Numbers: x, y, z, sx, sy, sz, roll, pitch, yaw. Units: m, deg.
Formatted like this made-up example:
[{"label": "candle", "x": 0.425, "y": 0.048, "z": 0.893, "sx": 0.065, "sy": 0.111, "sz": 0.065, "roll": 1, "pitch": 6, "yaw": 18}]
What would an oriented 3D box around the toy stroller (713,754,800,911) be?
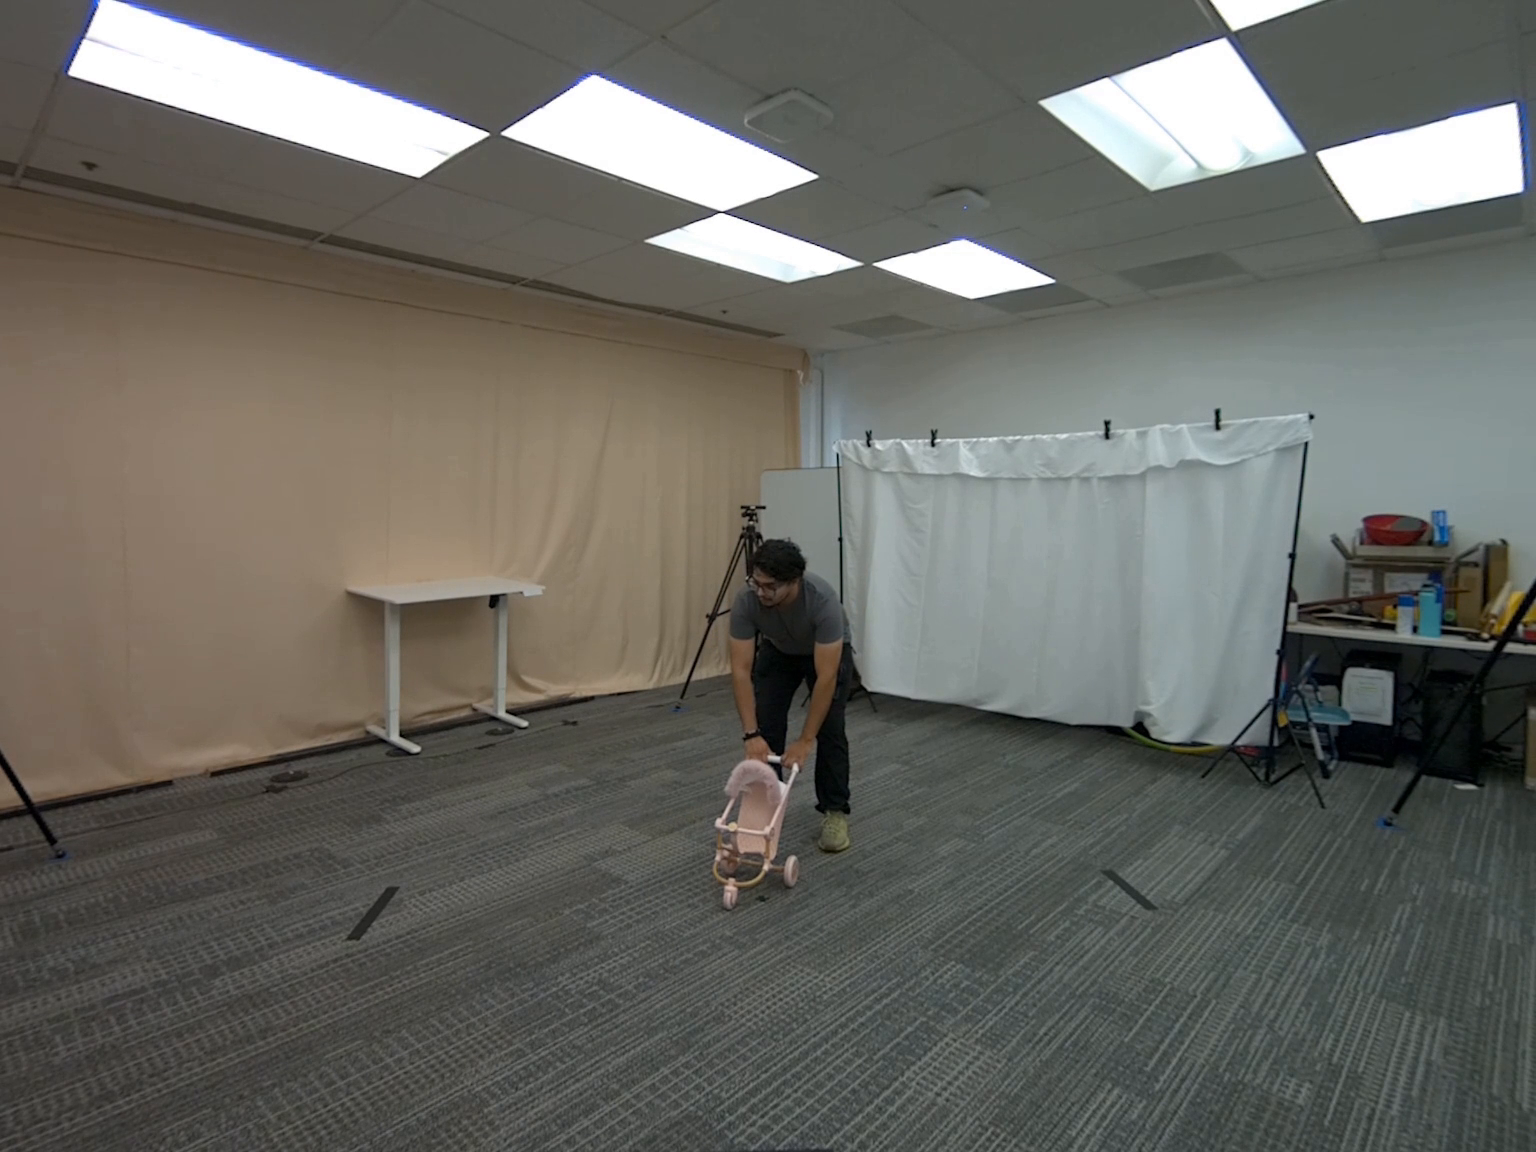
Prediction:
[{"label": "toy stroller", "x": -0.058, "y": 0.916, "z": 3.072, "sx": 0.289, "sy": 0.538, "sz": 0.330, "roll": 1, "pitch": -14, "yaw": 29}]
